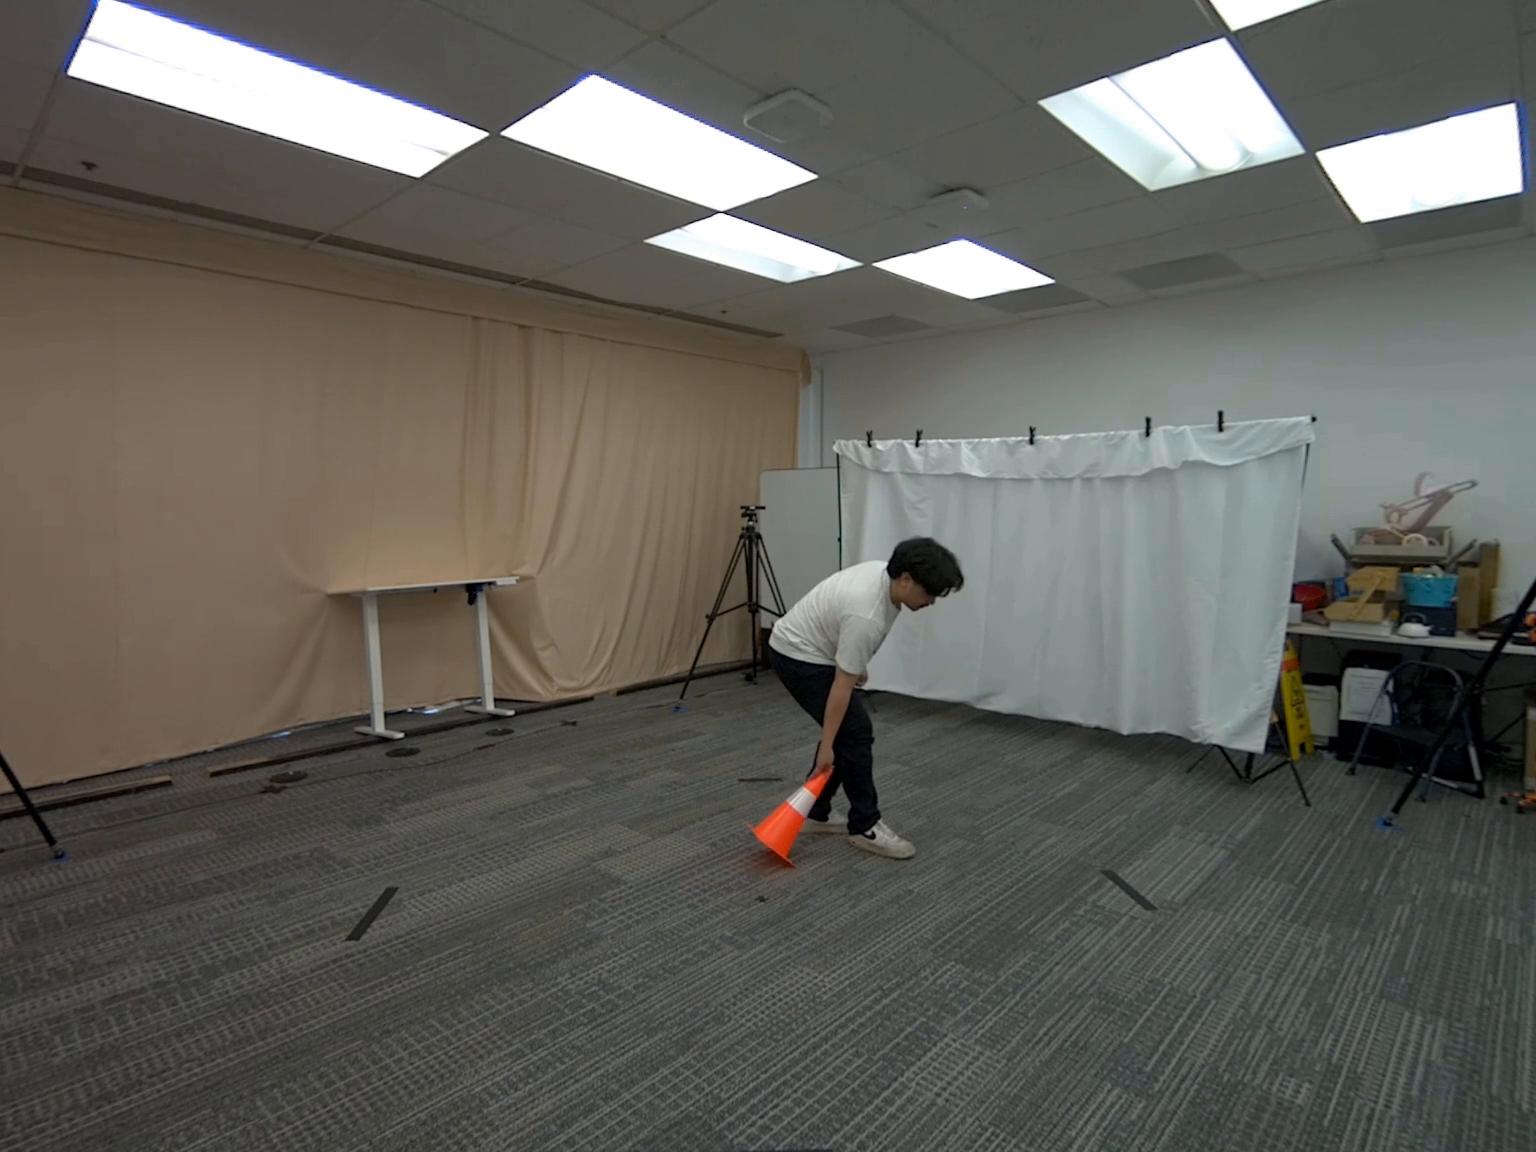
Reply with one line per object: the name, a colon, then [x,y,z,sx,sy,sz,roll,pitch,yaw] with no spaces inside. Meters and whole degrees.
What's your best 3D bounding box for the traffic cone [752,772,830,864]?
traffic cone: [0.124,0.908,3.321,0.199,0.383,0.210,43,-7,-19]
